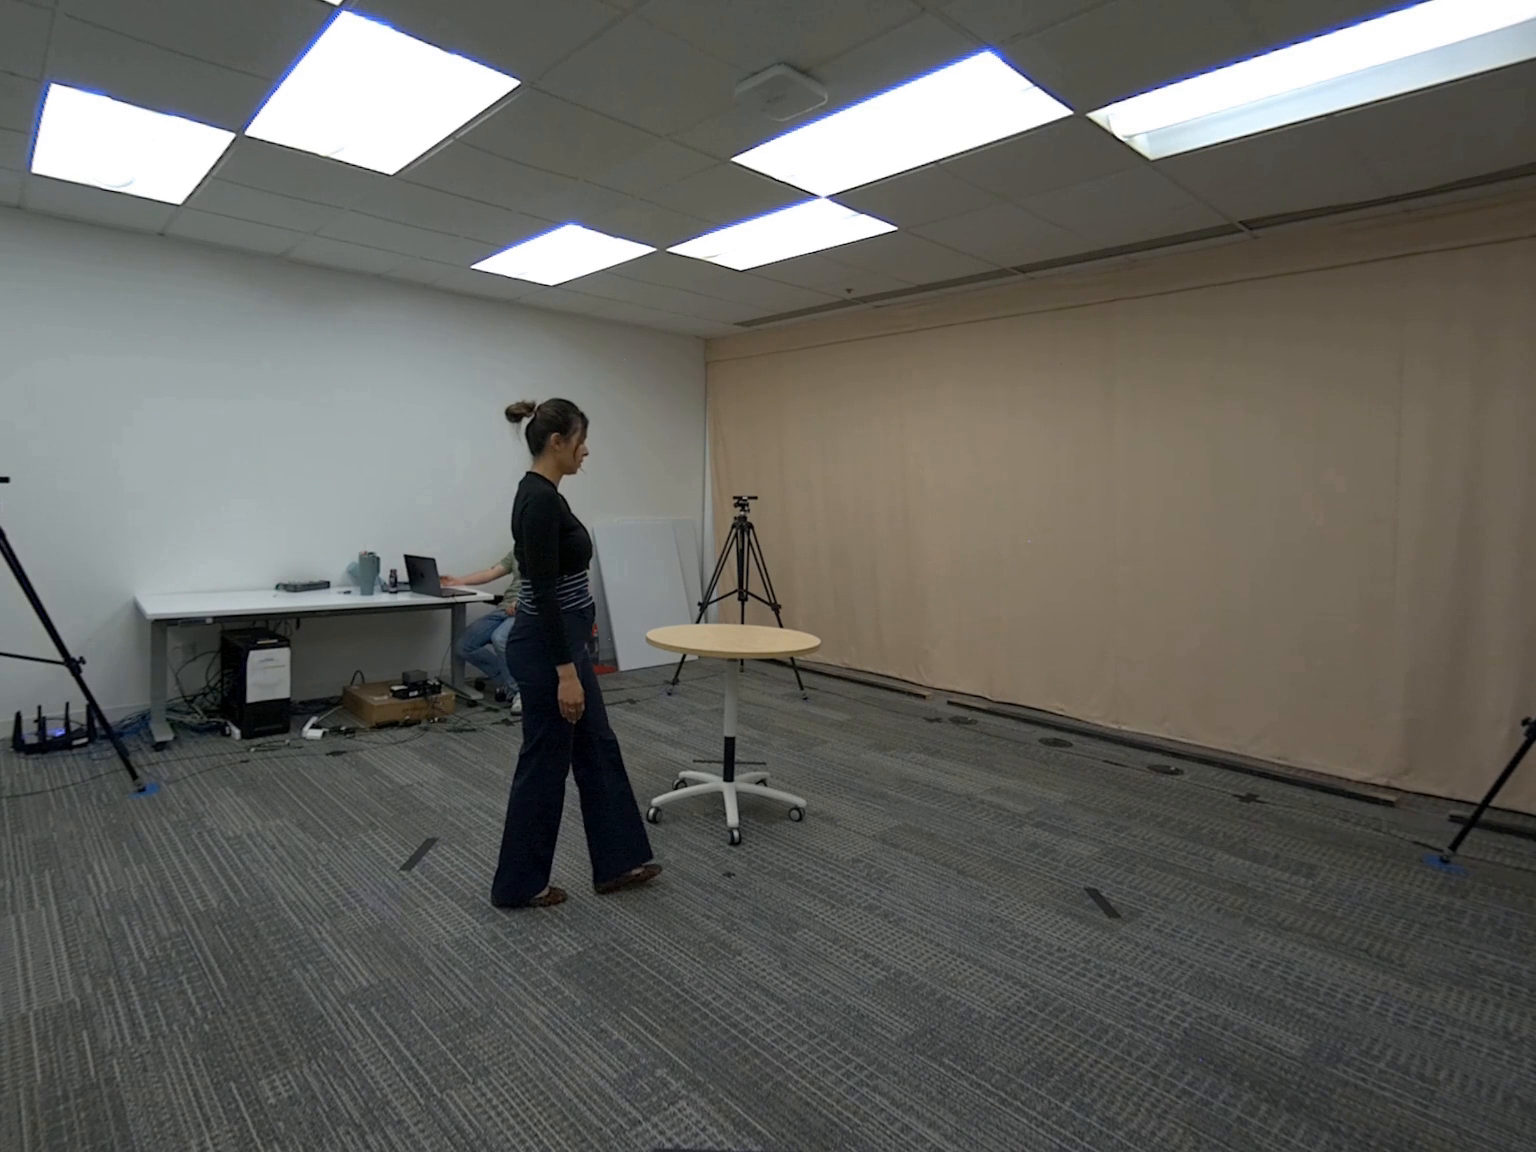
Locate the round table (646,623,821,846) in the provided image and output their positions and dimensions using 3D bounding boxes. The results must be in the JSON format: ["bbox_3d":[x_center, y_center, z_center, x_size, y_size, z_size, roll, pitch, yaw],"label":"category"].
[{"bbox_3d":[-0.177,0.661,3.714,0.763,0.792,0.766,2,4,-2],"label":"round table"}]
